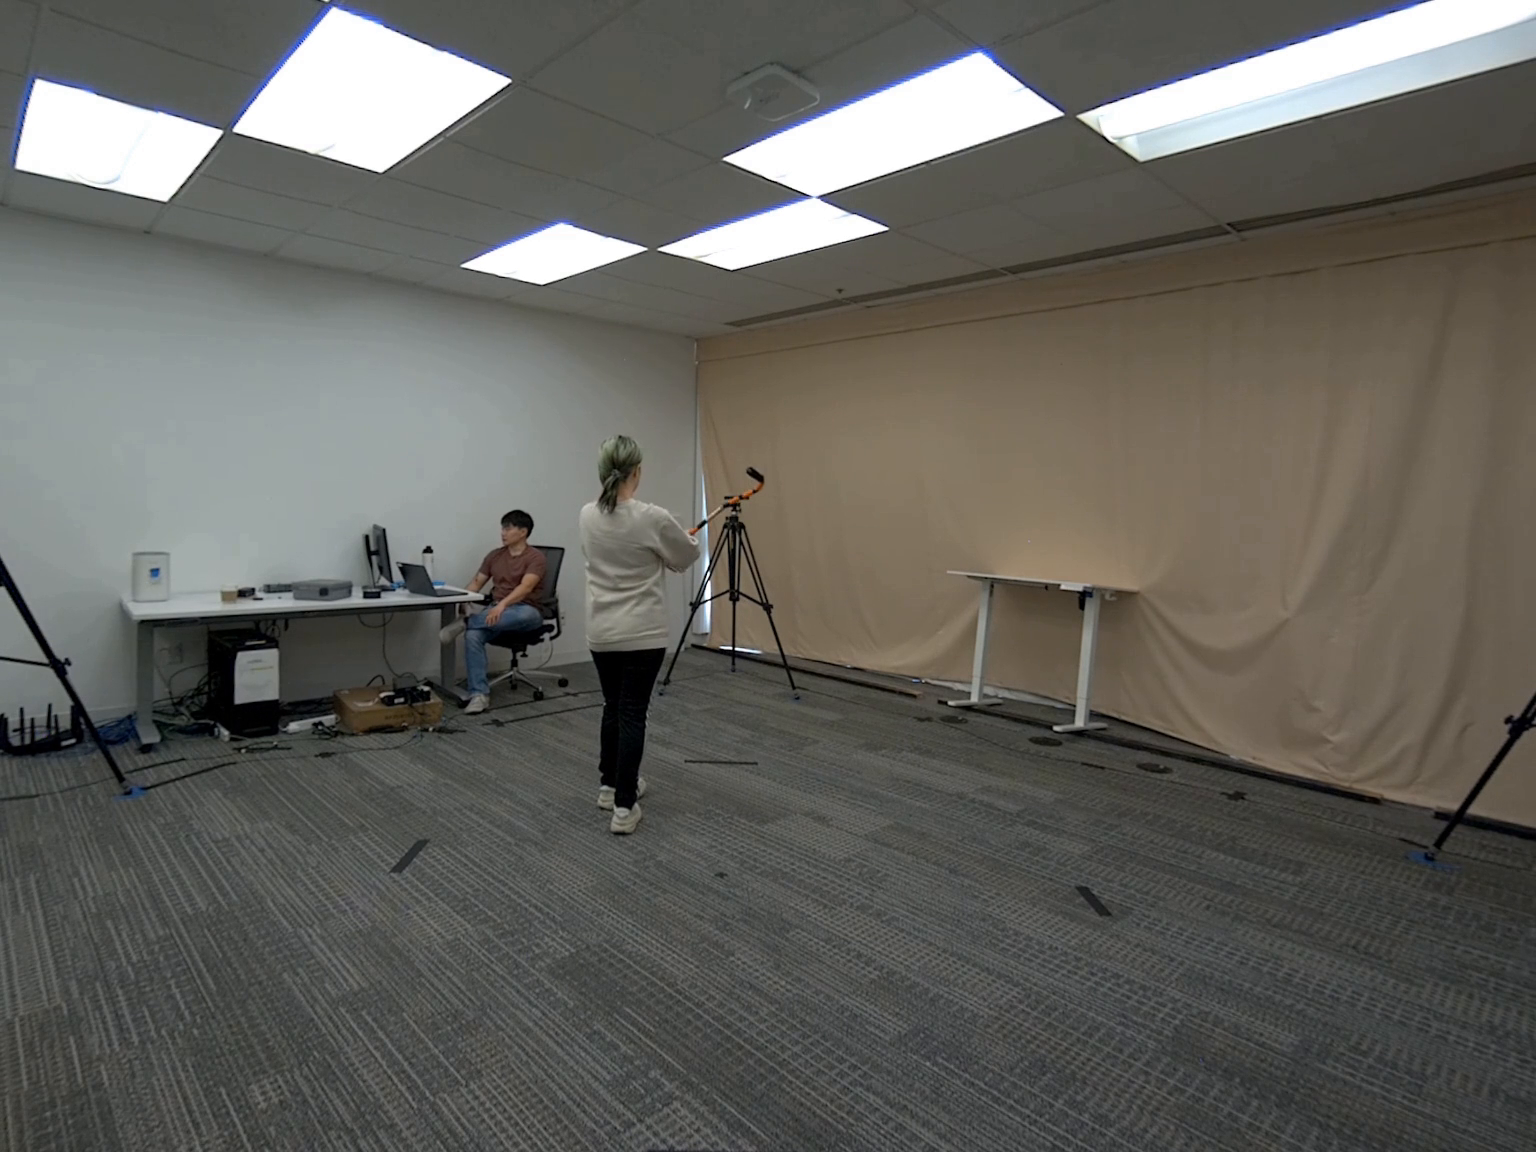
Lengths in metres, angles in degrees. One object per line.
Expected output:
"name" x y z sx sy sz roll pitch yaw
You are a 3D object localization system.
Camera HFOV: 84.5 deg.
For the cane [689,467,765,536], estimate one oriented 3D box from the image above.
"cane" -0.376 -0.172 3.938 0.909 0.156 0.200 -40 -35 14
